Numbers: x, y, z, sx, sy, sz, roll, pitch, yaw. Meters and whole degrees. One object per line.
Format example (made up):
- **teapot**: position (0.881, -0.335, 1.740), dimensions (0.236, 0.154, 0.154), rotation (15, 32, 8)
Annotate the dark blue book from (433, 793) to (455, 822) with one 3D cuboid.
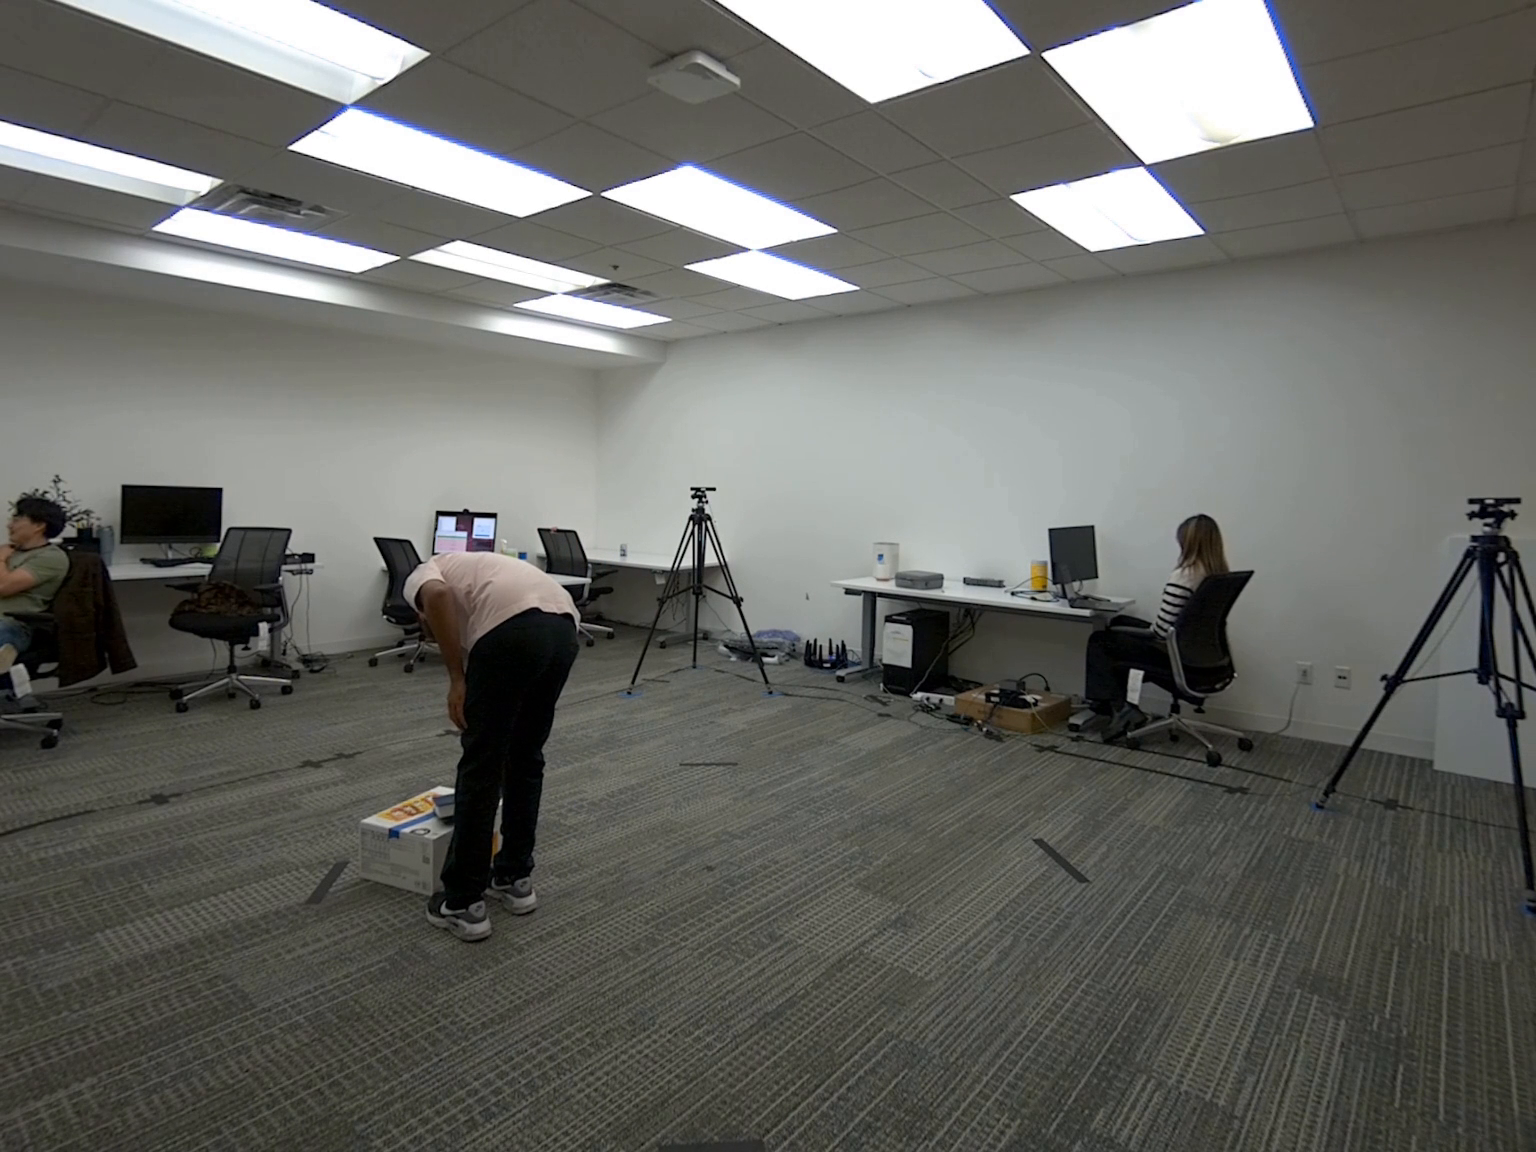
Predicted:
- **dark blue book**: position (-1.140, 0.822, 3.074), dimensions (0.160, 0.045, 0.249), rotation (-7, -2, -26)
